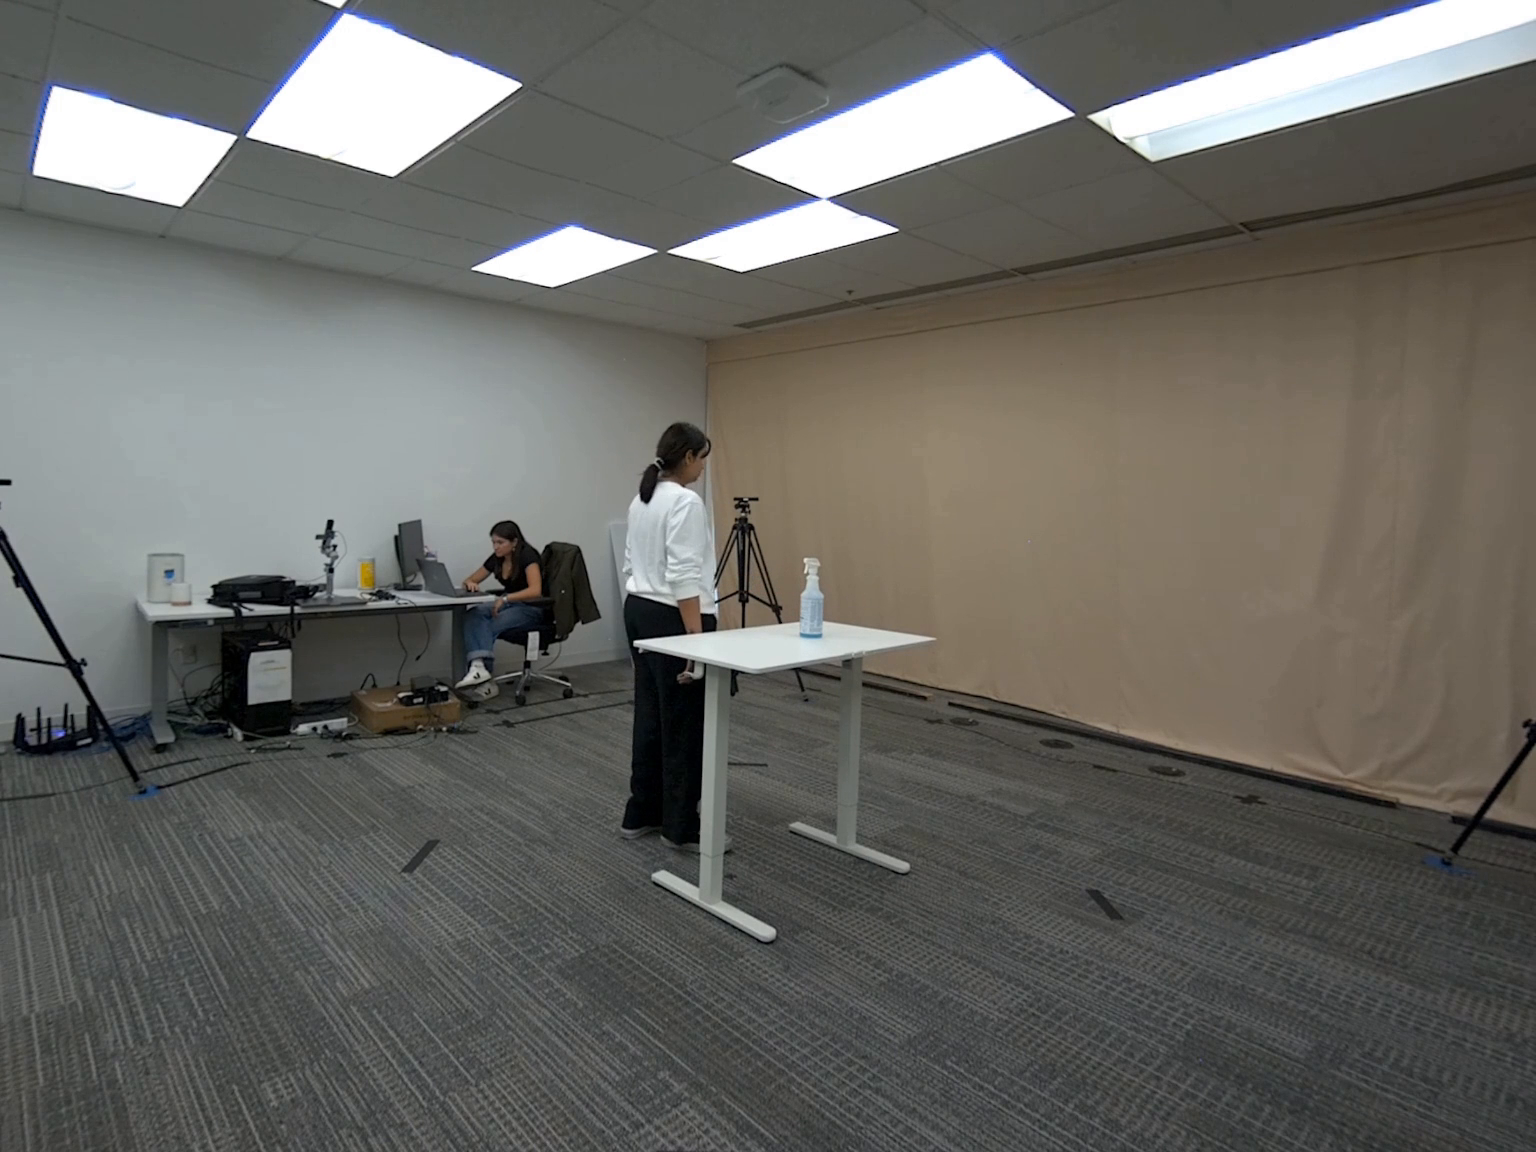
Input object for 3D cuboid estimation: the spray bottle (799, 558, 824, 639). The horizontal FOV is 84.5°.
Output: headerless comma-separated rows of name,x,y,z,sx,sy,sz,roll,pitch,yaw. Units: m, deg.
spray bottle,0.154,0.082,3.161,0.088,0.296,0.088,-2,4,-23
